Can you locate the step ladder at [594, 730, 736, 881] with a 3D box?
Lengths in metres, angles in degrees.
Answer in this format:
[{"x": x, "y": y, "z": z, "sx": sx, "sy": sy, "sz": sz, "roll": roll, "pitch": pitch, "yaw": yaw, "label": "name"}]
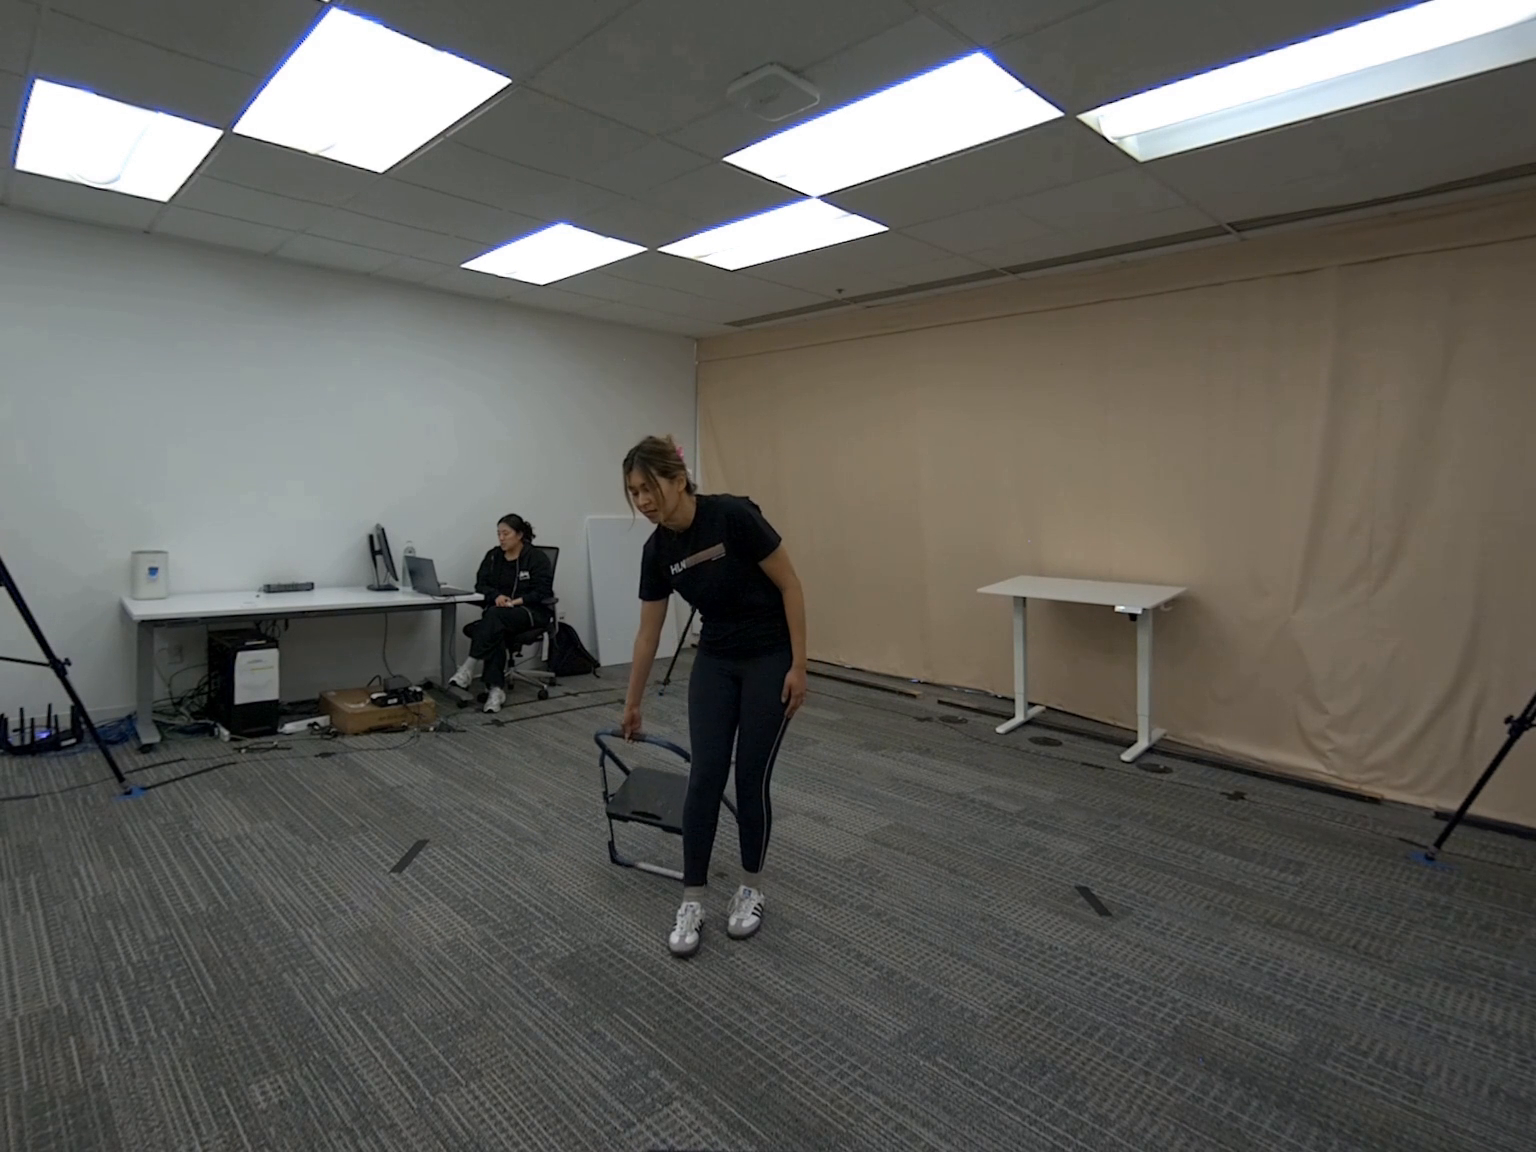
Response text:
[{"x": -0.405, "y": 0.760, "z": 3.087, "sx": 0.439, "sy": 0.592, "sz": 0.350, "roll": 3, "pitch": 33, "yaw": 26, "label": "step ladder"}]
